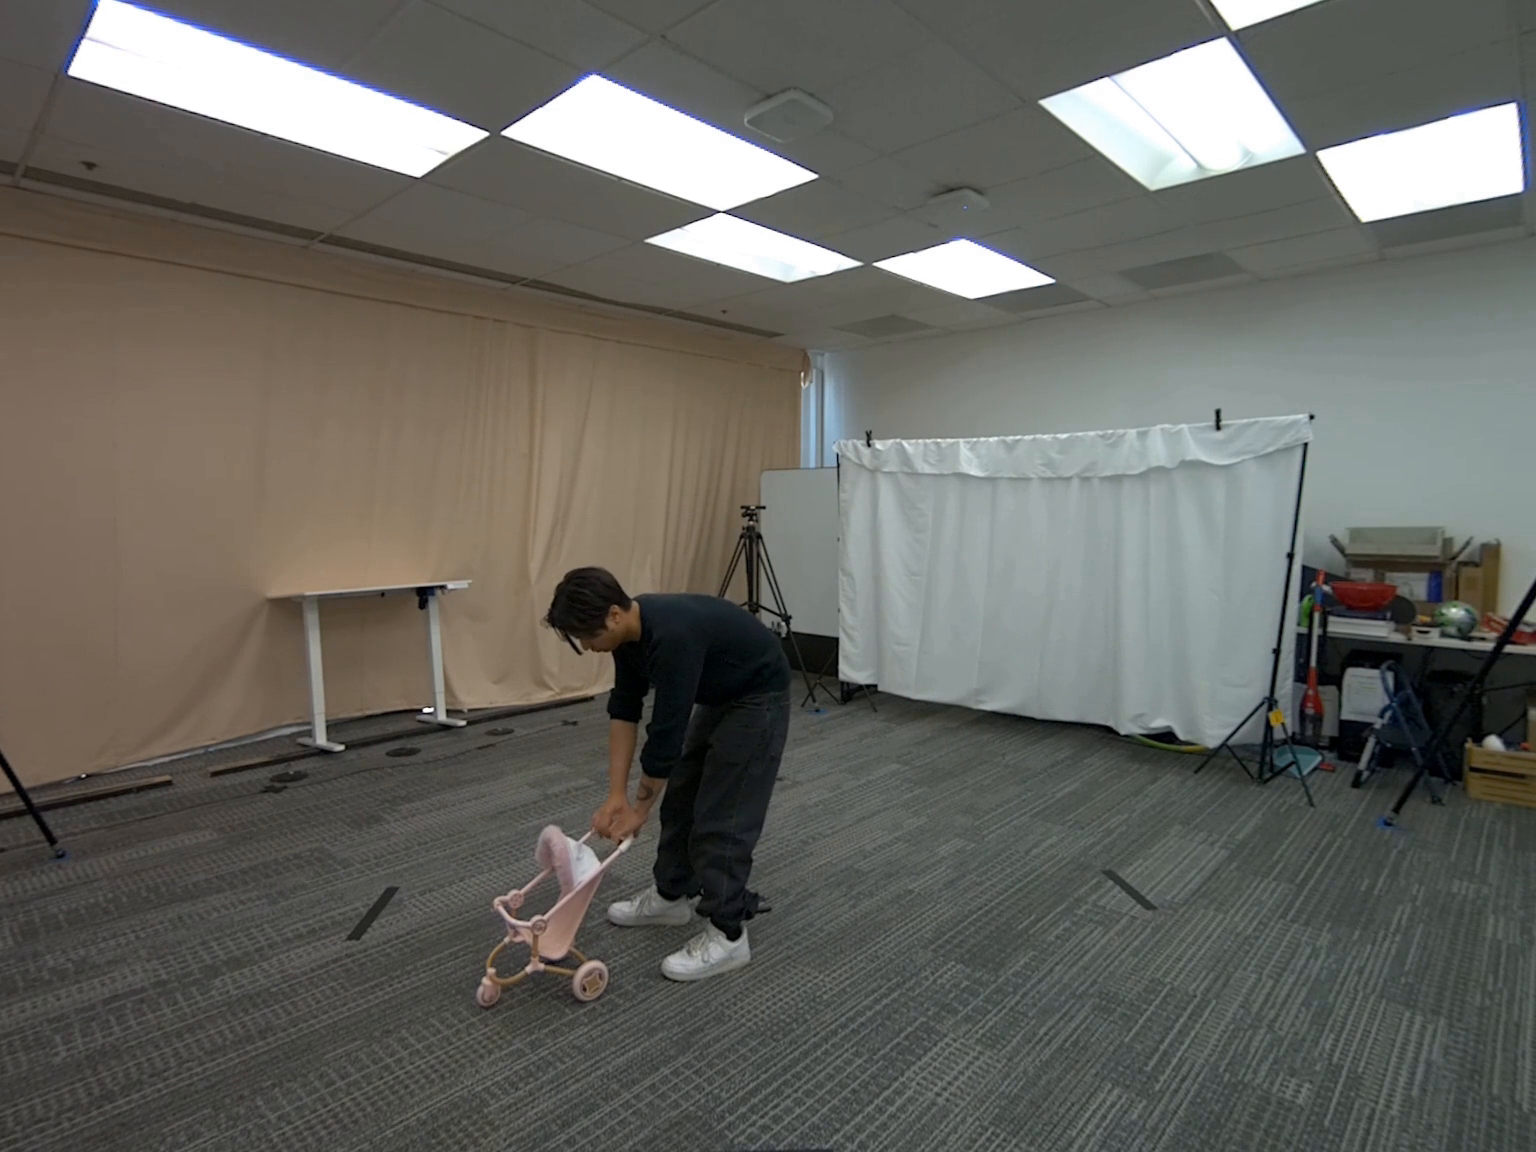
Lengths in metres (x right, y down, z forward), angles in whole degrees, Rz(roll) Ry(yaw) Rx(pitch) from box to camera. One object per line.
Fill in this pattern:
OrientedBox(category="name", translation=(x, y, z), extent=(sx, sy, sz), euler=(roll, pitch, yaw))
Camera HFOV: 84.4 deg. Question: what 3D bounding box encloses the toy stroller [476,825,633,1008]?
OrientedBox(category="toy stroller", translation=(-0.626, 0.972, 2.438), extent=(0.331, 0.536, 0.289), euler=(16, -5, -29))
